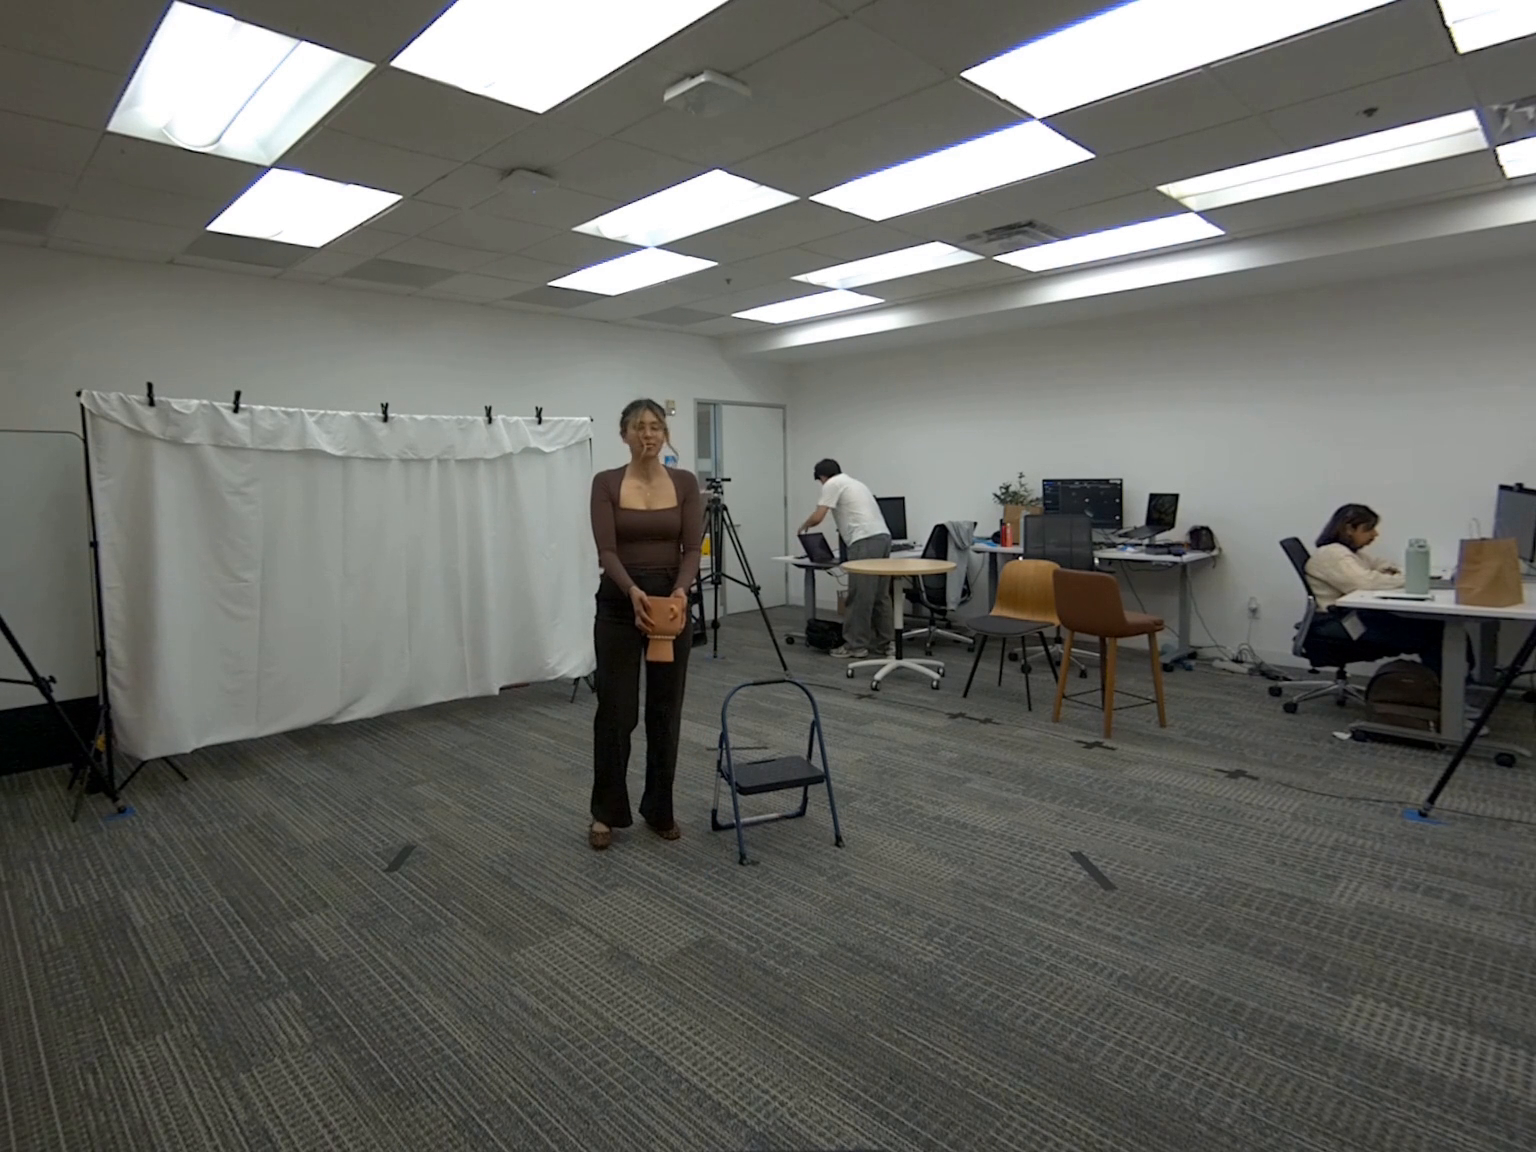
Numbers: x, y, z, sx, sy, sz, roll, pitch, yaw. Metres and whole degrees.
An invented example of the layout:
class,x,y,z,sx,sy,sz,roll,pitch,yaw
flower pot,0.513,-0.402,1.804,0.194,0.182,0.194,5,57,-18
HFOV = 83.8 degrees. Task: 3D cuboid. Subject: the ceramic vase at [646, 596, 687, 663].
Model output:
class,x,y,z,sx,sy,sz,roll,pitch,yaw
ceramic vase,-0.375,0.194,3.002,0.135,0.220,0.157,1,-3,5
